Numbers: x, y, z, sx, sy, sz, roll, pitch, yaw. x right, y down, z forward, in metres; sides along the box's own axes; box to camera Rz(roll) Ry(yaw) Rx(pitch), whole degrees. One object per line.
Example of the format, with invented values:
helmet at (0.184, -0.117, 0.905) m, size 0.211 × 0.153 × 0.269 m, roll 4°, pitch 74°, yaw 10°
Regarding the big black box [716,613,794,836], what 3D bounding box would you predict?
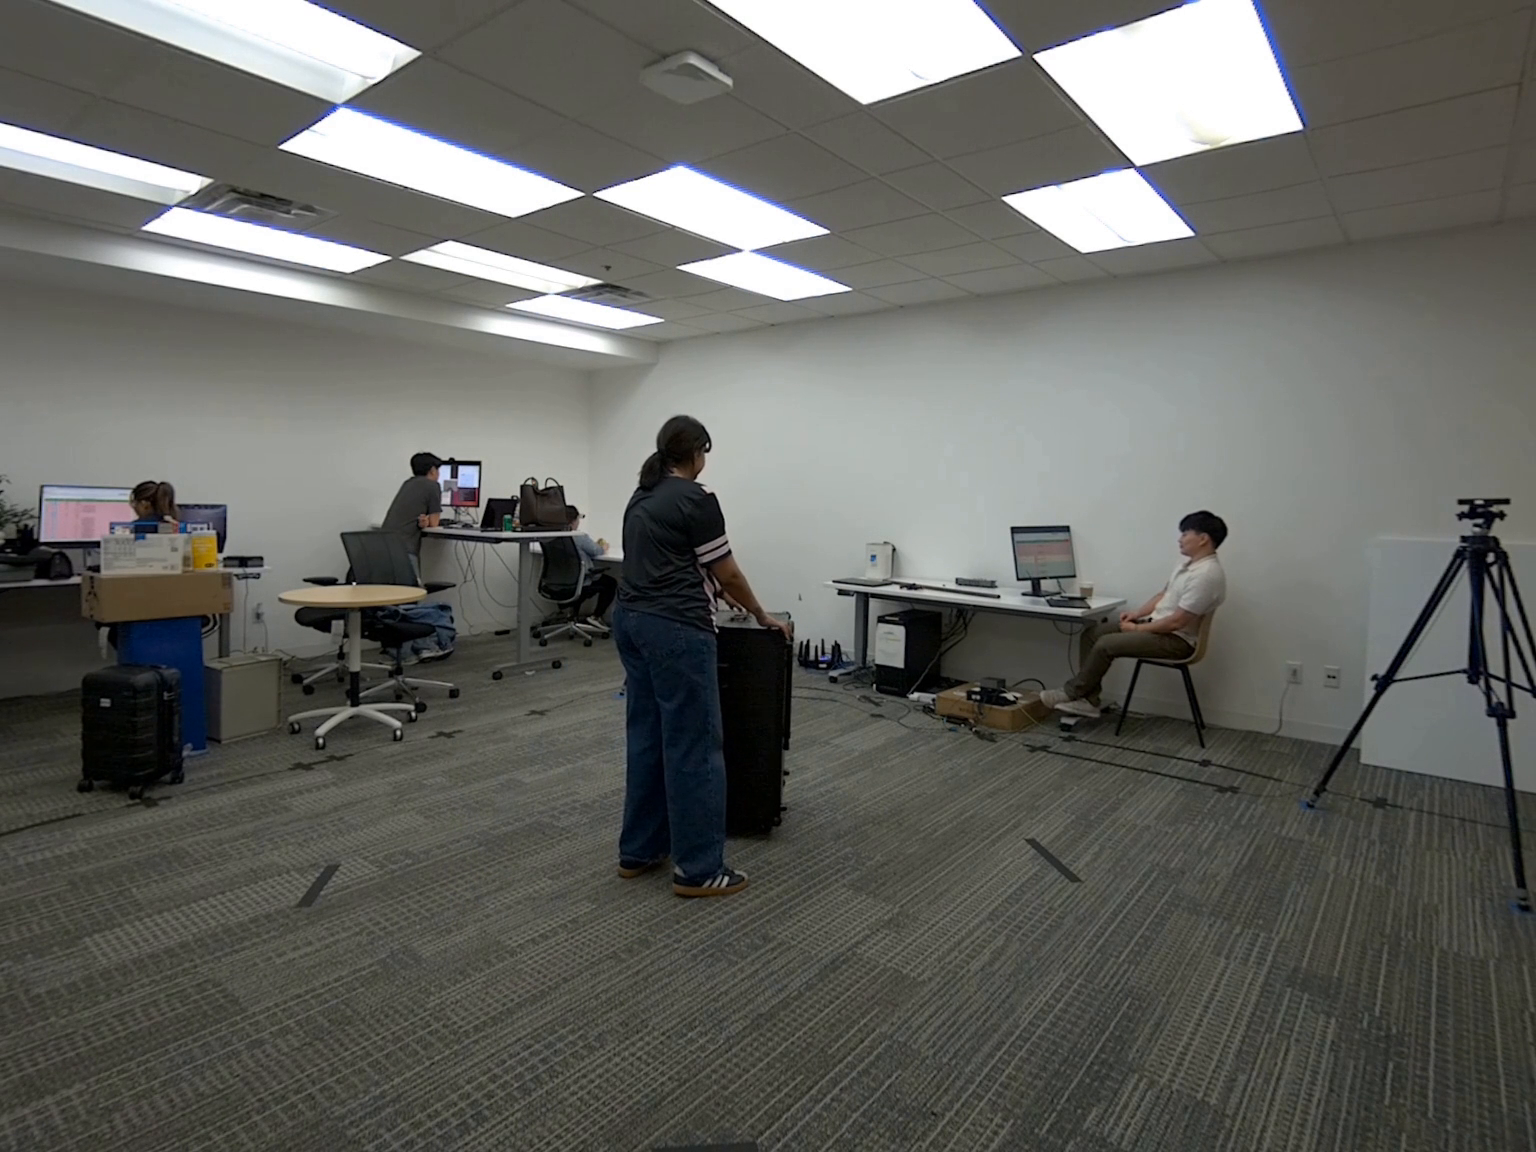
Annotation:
big black box at (-0.113, 0.602, 3.590) m, size 0.387 × 0.866 × 0.522 m, roll 2°, pitch 4°, yaw 3°
